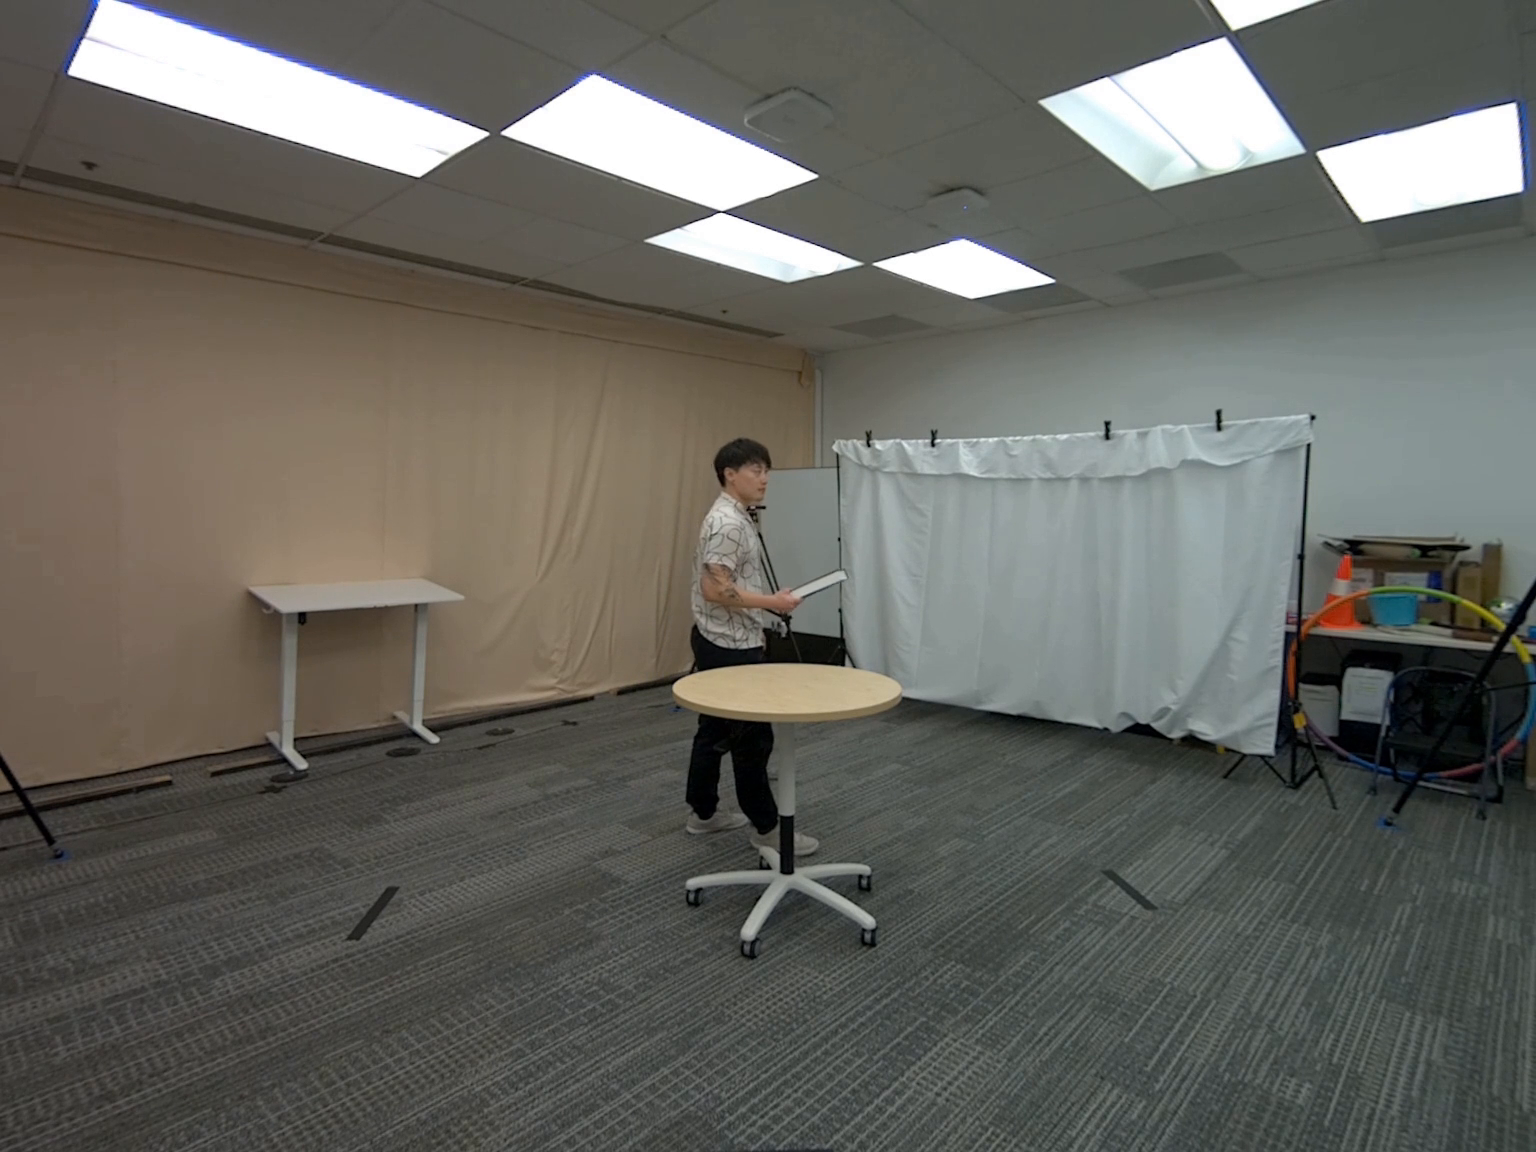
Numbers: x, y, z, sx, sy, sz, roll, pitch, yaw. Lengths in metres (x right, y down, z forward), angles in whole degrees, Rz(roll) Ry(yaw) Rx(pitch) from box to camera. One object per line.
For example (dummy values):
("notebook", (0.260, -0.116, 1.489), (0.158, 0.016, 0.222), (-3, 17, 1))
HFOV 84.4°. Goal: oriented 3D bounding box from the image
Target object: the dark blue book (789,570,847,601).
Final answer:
("dark blue book", (0.204, 0.037, 3.341), (0.247, 0.045, 0.161), (-23, -4, 13))
